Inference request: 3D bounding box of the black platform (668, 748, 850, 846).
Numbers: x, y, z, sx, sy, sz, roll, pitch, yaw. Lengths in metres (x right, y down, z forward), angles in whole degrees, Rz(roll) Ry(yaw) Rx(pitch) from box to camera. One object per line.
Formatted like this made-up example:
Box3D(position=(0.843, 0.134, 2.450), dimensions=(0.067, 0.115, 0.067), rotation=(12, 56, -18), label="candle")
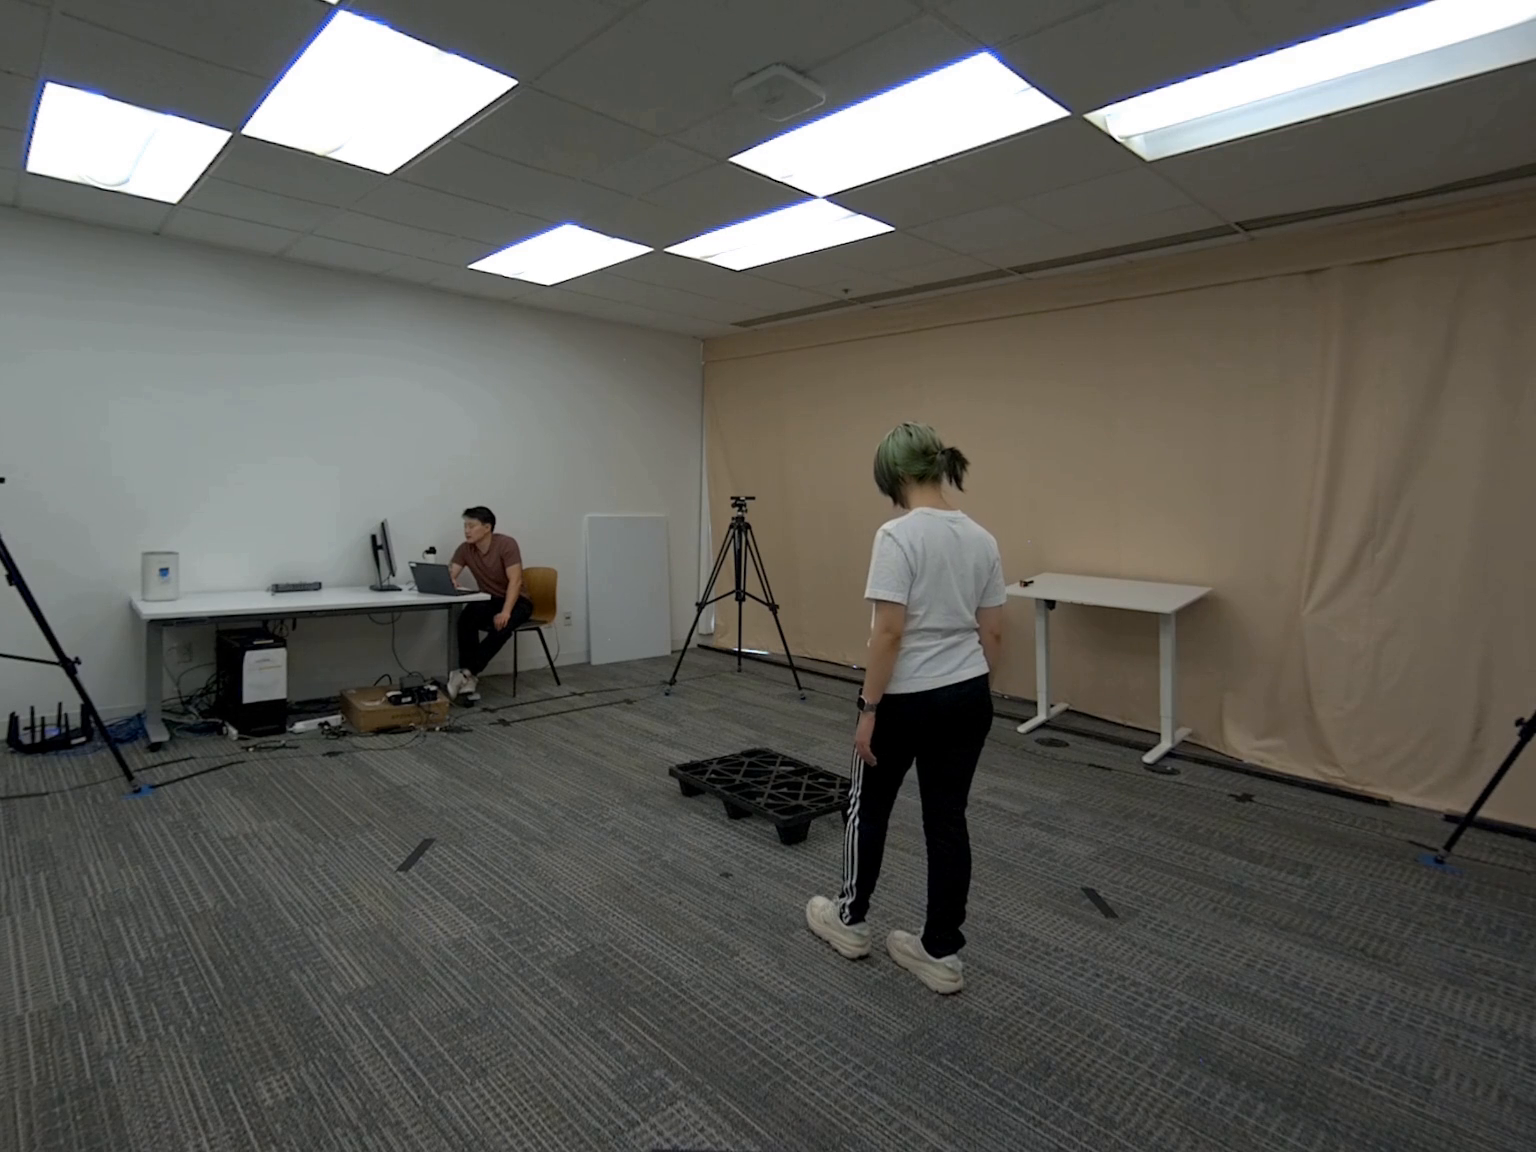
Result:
Box3D(position=(0.005, 0.981, 3.805), dimensions=(0.591, 0.143, 0.826), rotation=(-3, 7, -40), label="black platform")
